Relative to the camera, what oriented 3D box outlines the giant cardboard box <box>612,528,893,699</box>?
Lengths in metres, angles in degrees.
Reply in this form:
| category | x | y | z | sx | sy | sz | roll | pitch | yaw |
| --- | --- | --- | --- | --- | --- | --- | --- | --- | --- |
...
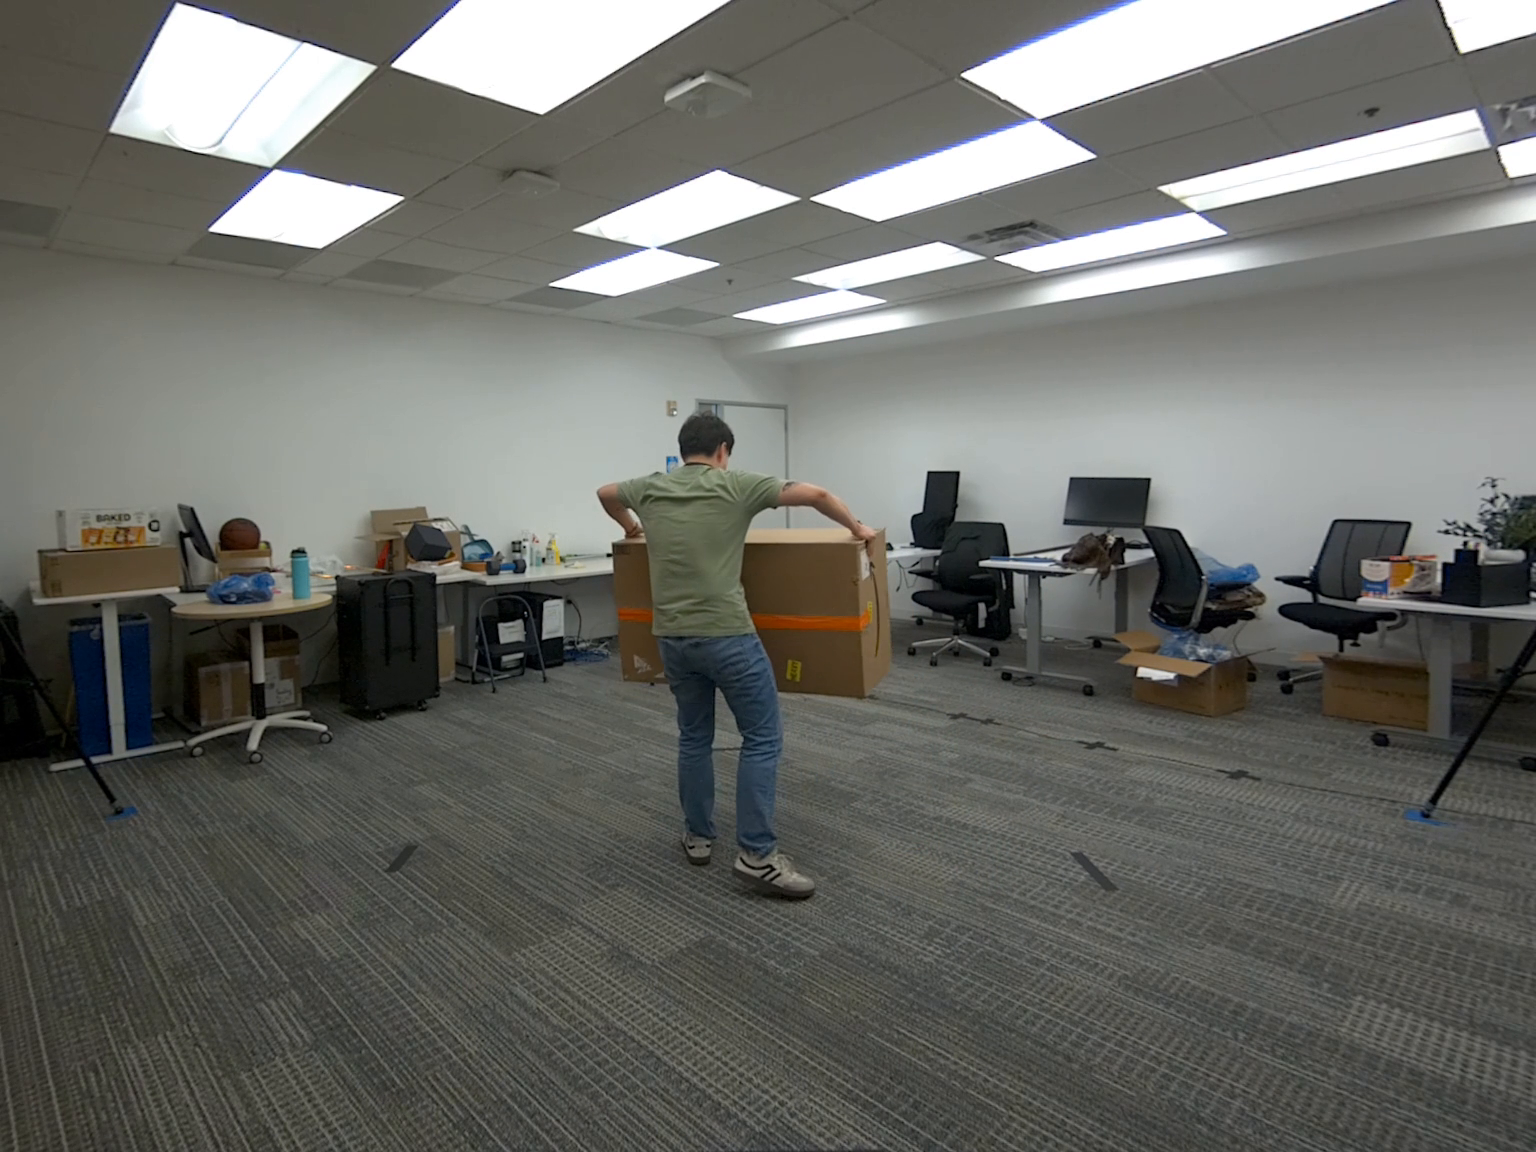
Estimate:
| category | x | y | z | sx | sy | sz | roll | pitch | yaw |
| --- | --- | --- | --- | --- | --- | --- | --- | --- | --- |
| giant cardboard box | -0.061 | 0.122 | 3.458 | 1.048 | 0.573 | 0.420 | 1 | 9 | 24 |
